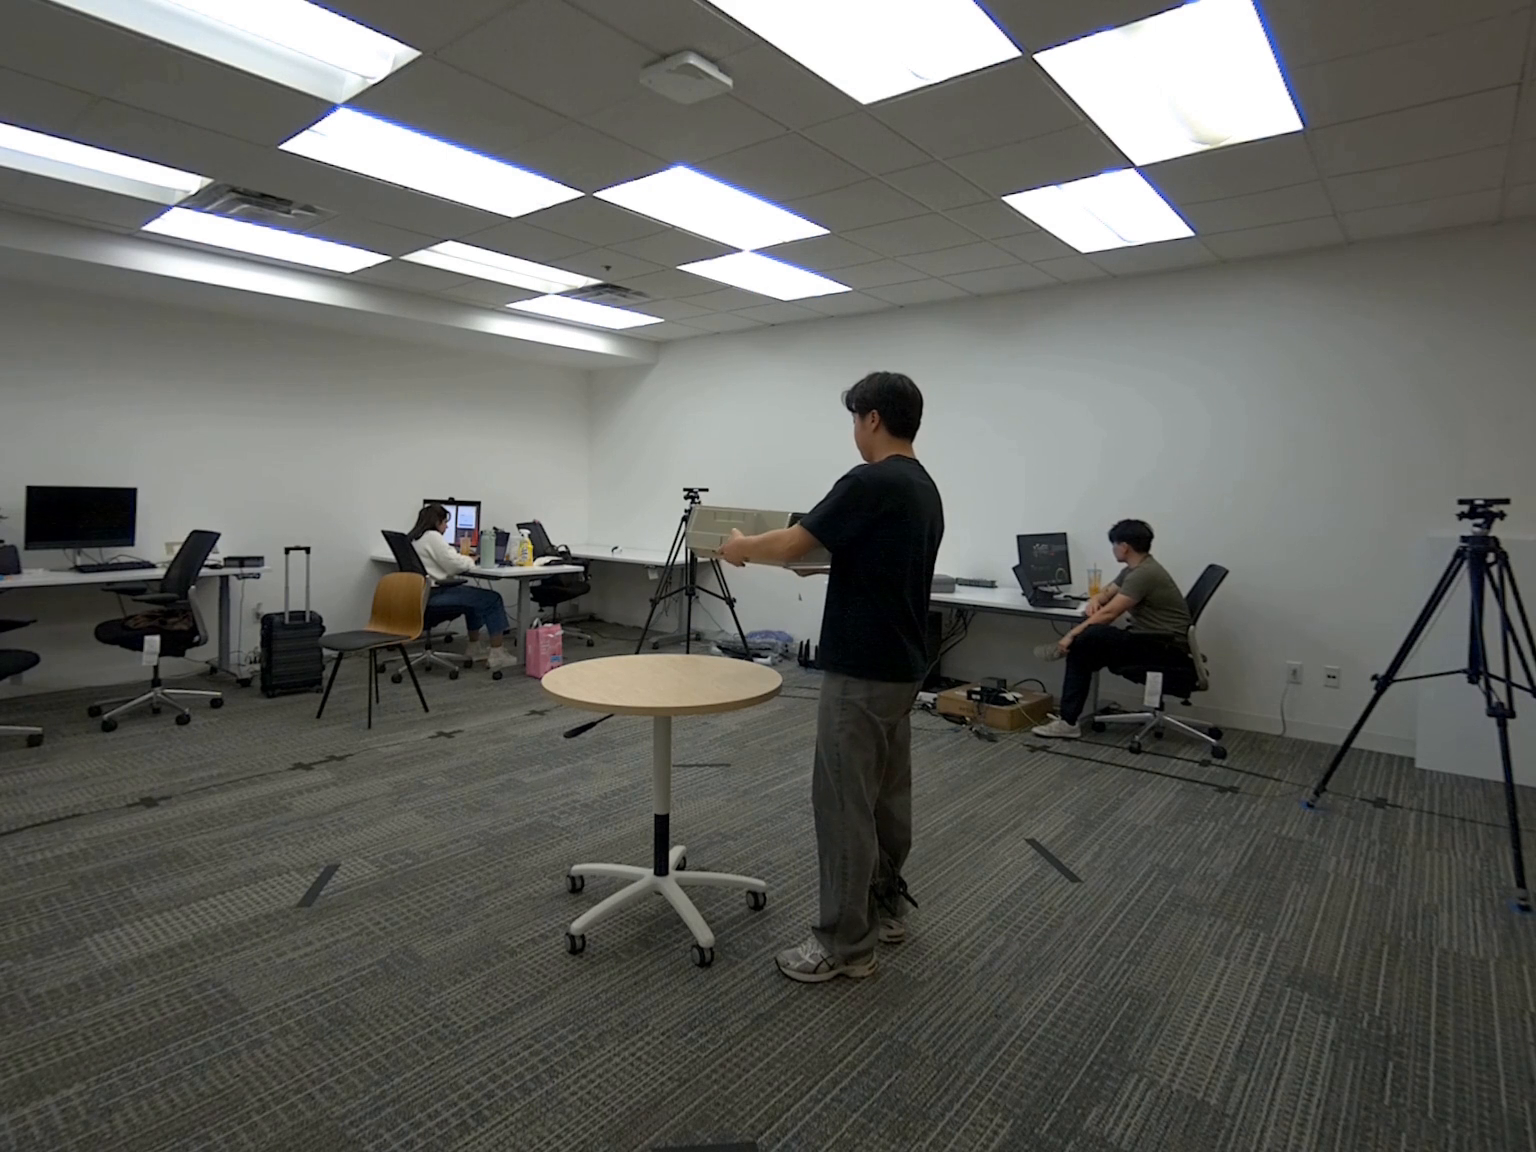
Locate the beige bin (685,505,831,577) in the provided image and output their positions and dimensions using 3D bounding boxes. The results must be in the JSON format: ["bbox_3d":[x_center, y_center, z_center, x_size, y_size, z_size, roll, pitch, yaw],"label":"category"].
[{"bbox_3d":[-0.010,-0.131,2.860,0.437,0.188,0.365,6,4,40],"label":"beige bin"}]
